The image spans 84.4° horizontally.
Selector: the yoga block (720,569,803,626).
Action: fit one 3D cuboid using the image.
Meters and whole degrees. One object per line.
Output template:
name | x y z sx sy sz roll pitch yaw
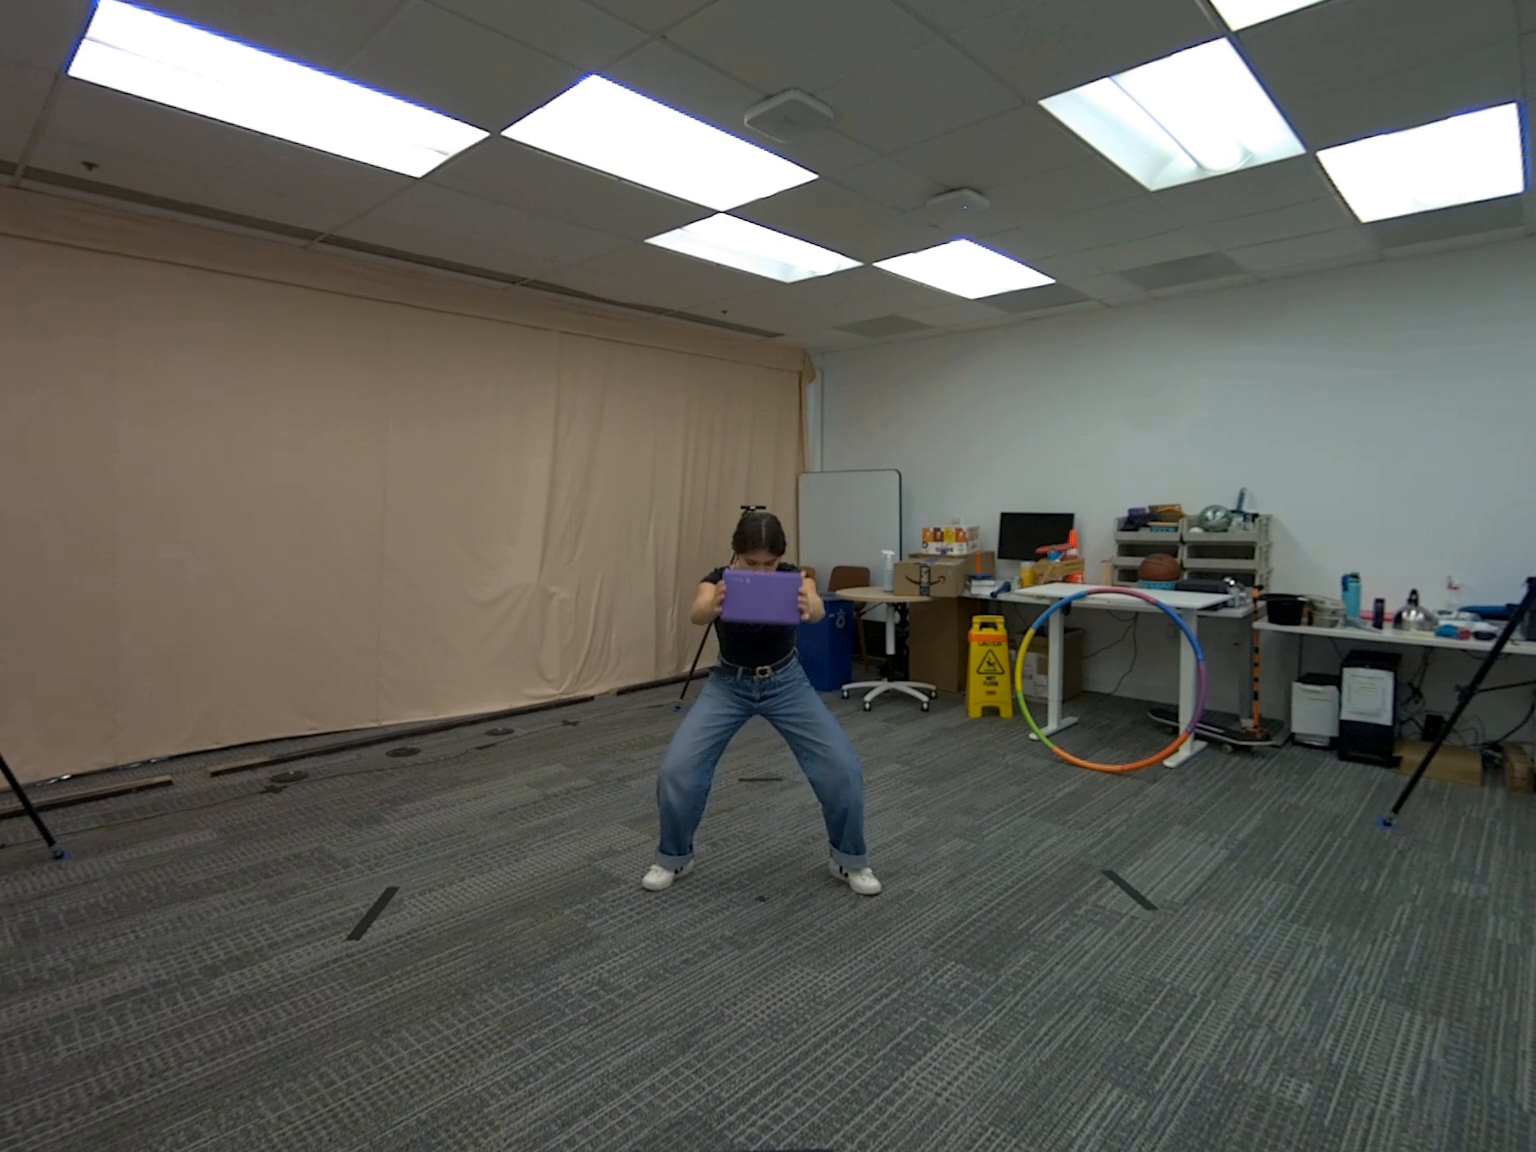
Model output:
yoga block | -0.024 0.040 2.465 0.230 0.149 0.076 4 3 5
